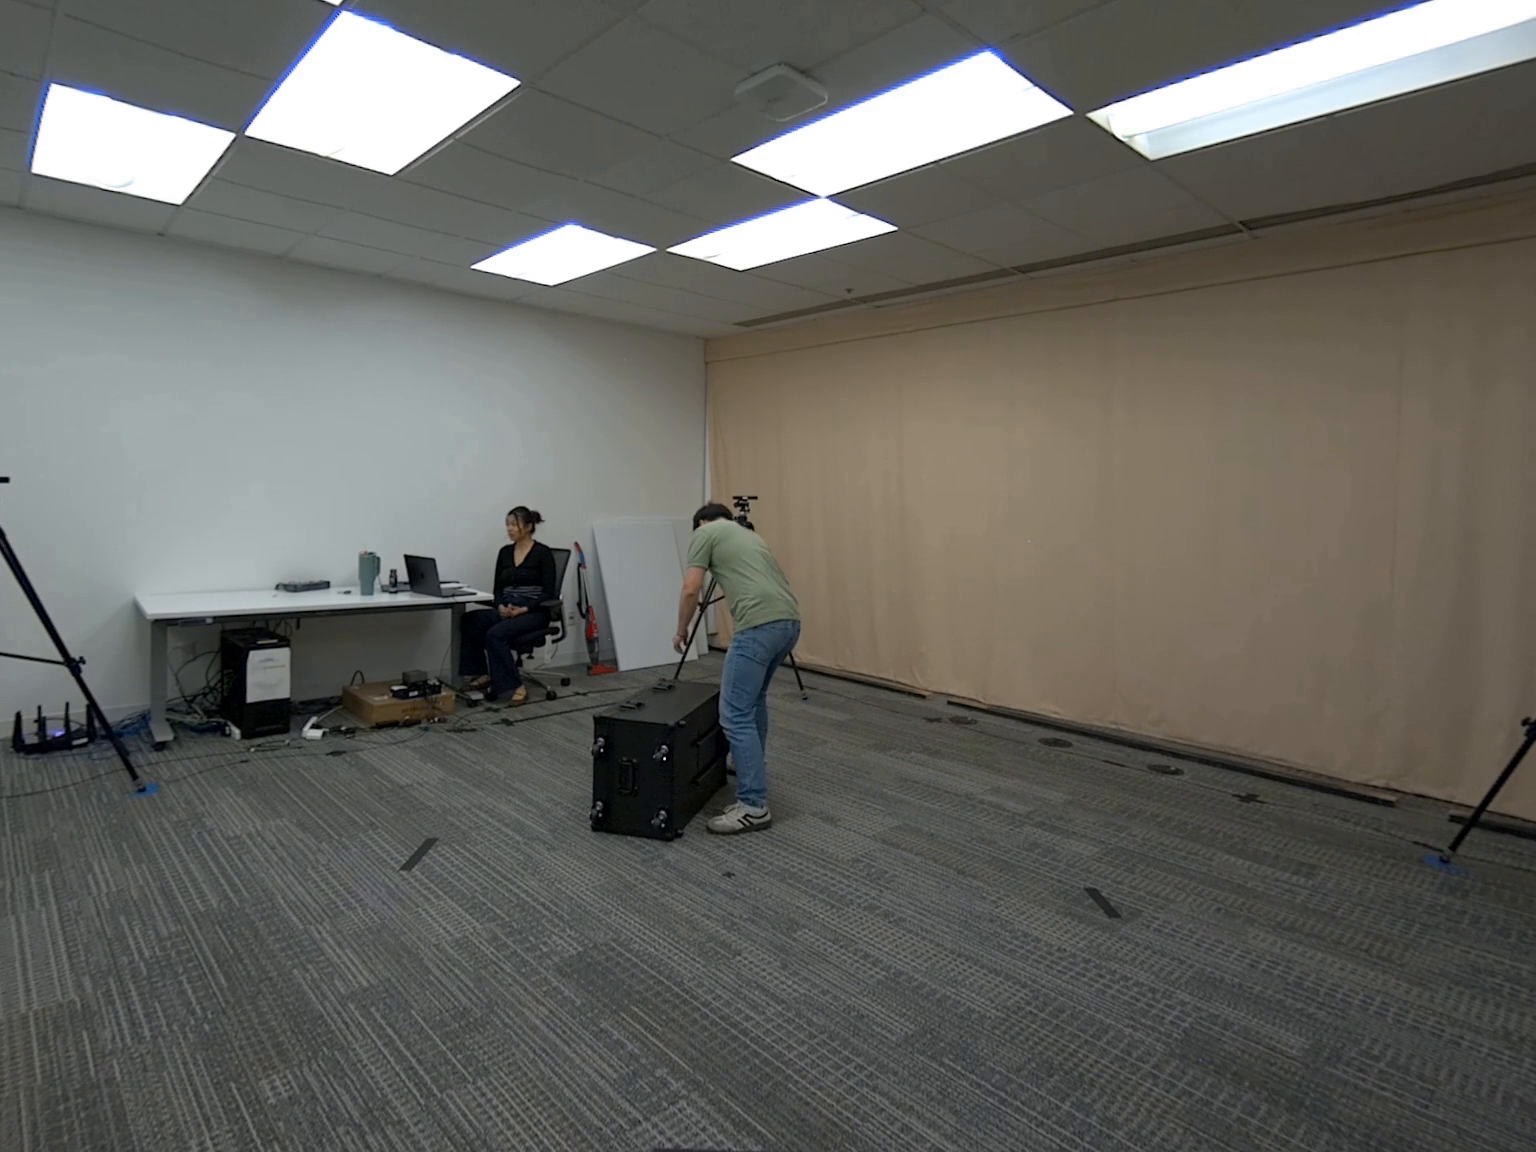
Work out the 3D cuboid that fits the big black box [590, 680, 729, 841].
[{"bbox_3d":[-0.449,0.781,3.812,0.401,0.520,0.853,3,5,13],"label":"big black box"}]
